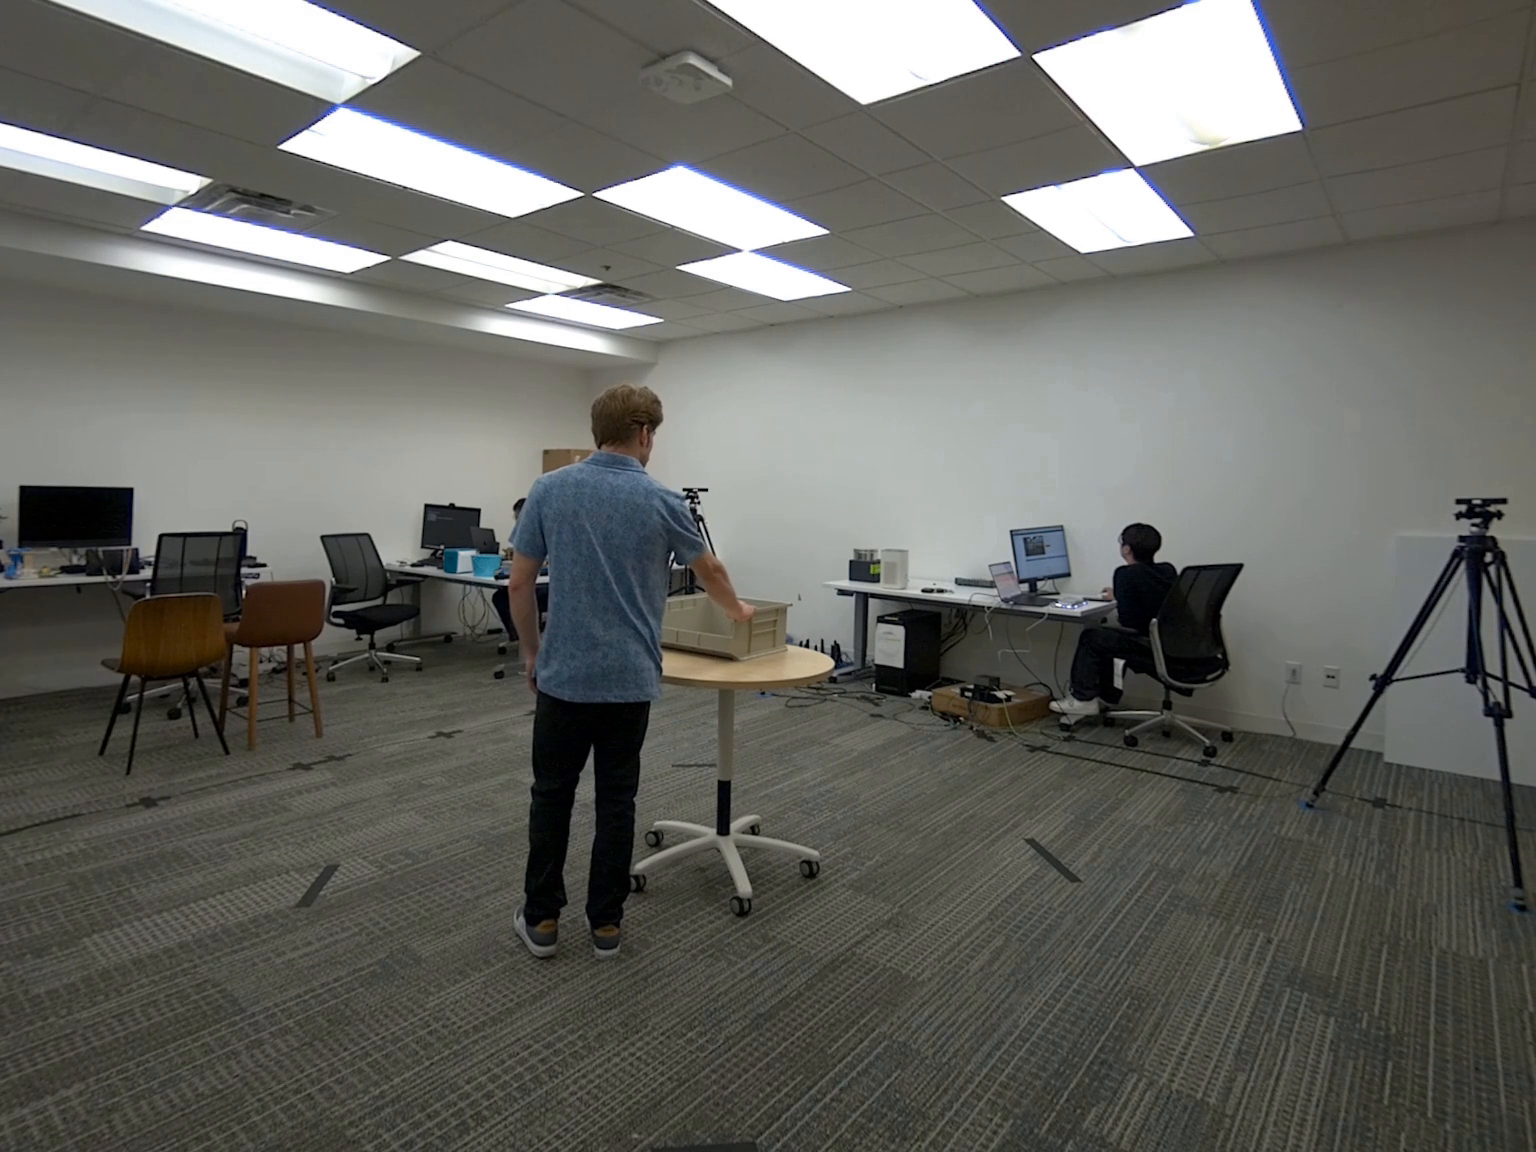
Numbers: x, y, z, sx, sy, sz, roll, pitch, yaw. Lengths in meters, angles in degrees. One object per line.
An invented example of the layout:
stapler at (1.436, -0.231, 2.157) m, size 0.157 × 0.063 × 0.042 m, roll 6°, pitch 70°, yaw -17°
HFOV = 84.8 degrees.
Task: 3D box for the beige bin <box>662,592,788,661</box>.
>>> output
beige bin at (-0.196, 0.187, 3.224) m, size 0.436 × 0.188 × 0.366 m, roll 4°, pitch 5°, yaw 36°
